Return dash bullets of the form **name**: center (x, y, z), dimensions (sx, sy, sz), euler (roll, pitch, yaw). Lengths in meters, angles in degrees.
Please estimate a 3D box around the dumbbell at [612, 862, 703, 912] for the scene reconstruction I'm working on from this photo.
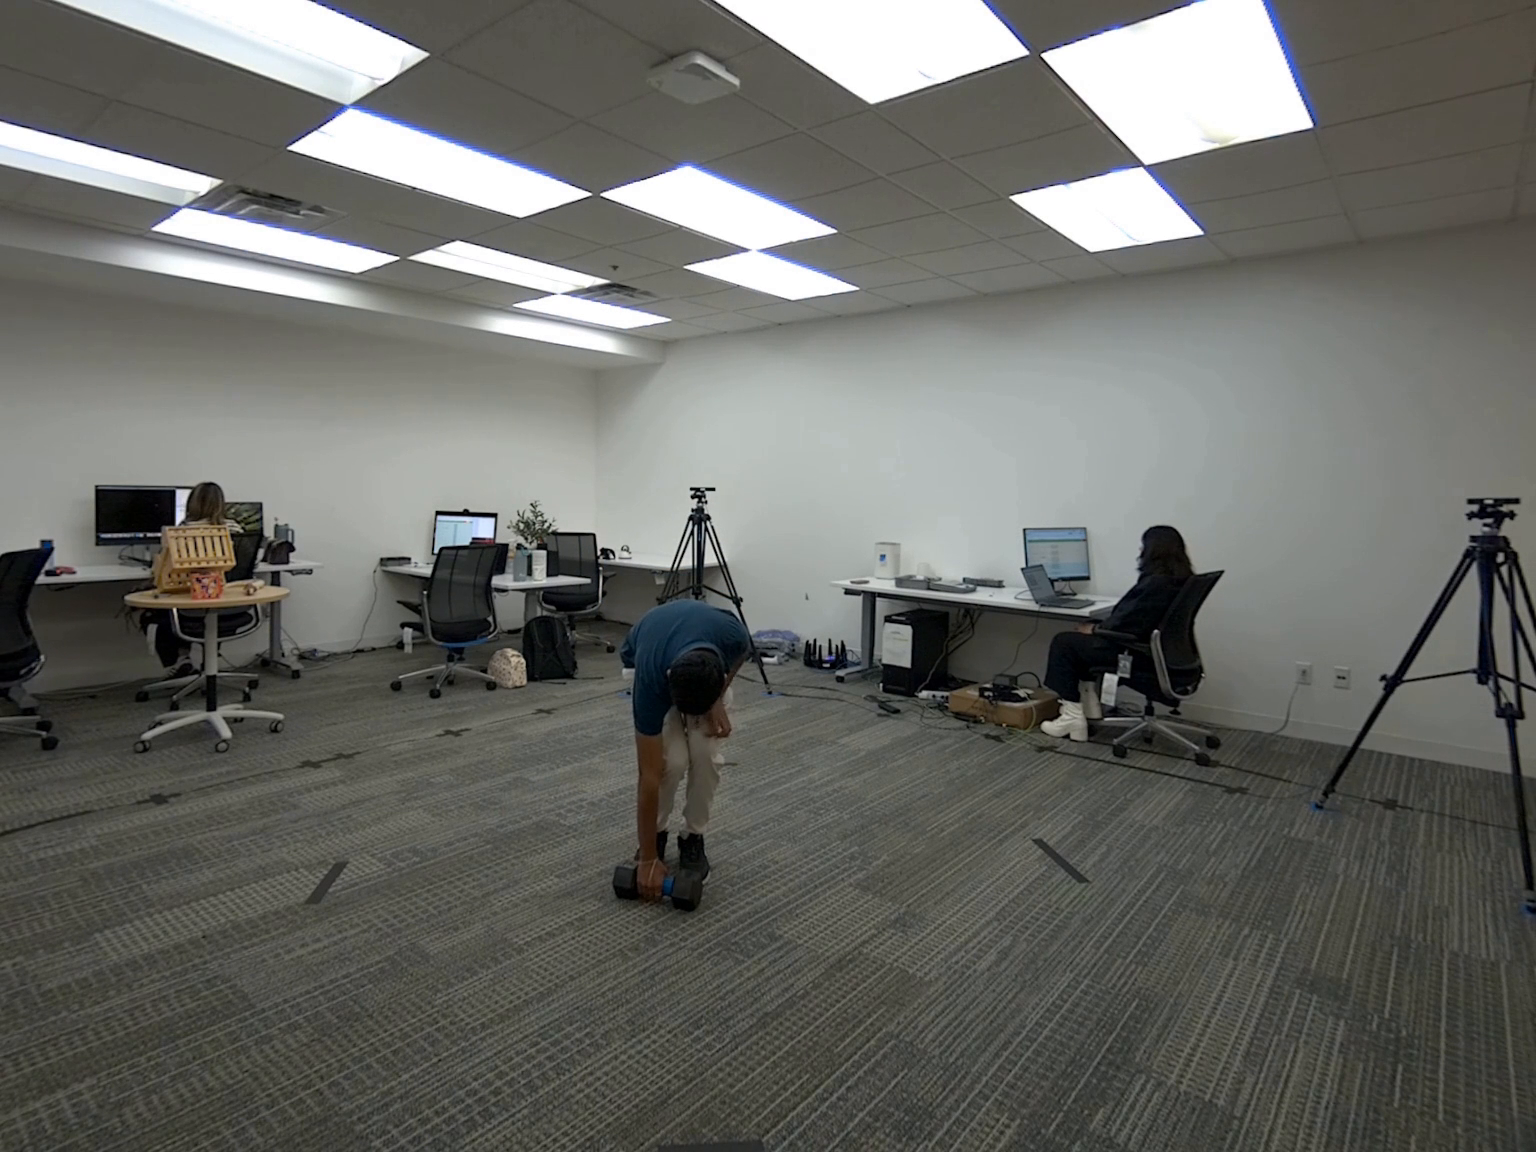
- **dumbbell**: center (-0.381, 1.032, 2.856), dimensions (0.299, 0.119, 0.110), euler (3, 35, 17)
